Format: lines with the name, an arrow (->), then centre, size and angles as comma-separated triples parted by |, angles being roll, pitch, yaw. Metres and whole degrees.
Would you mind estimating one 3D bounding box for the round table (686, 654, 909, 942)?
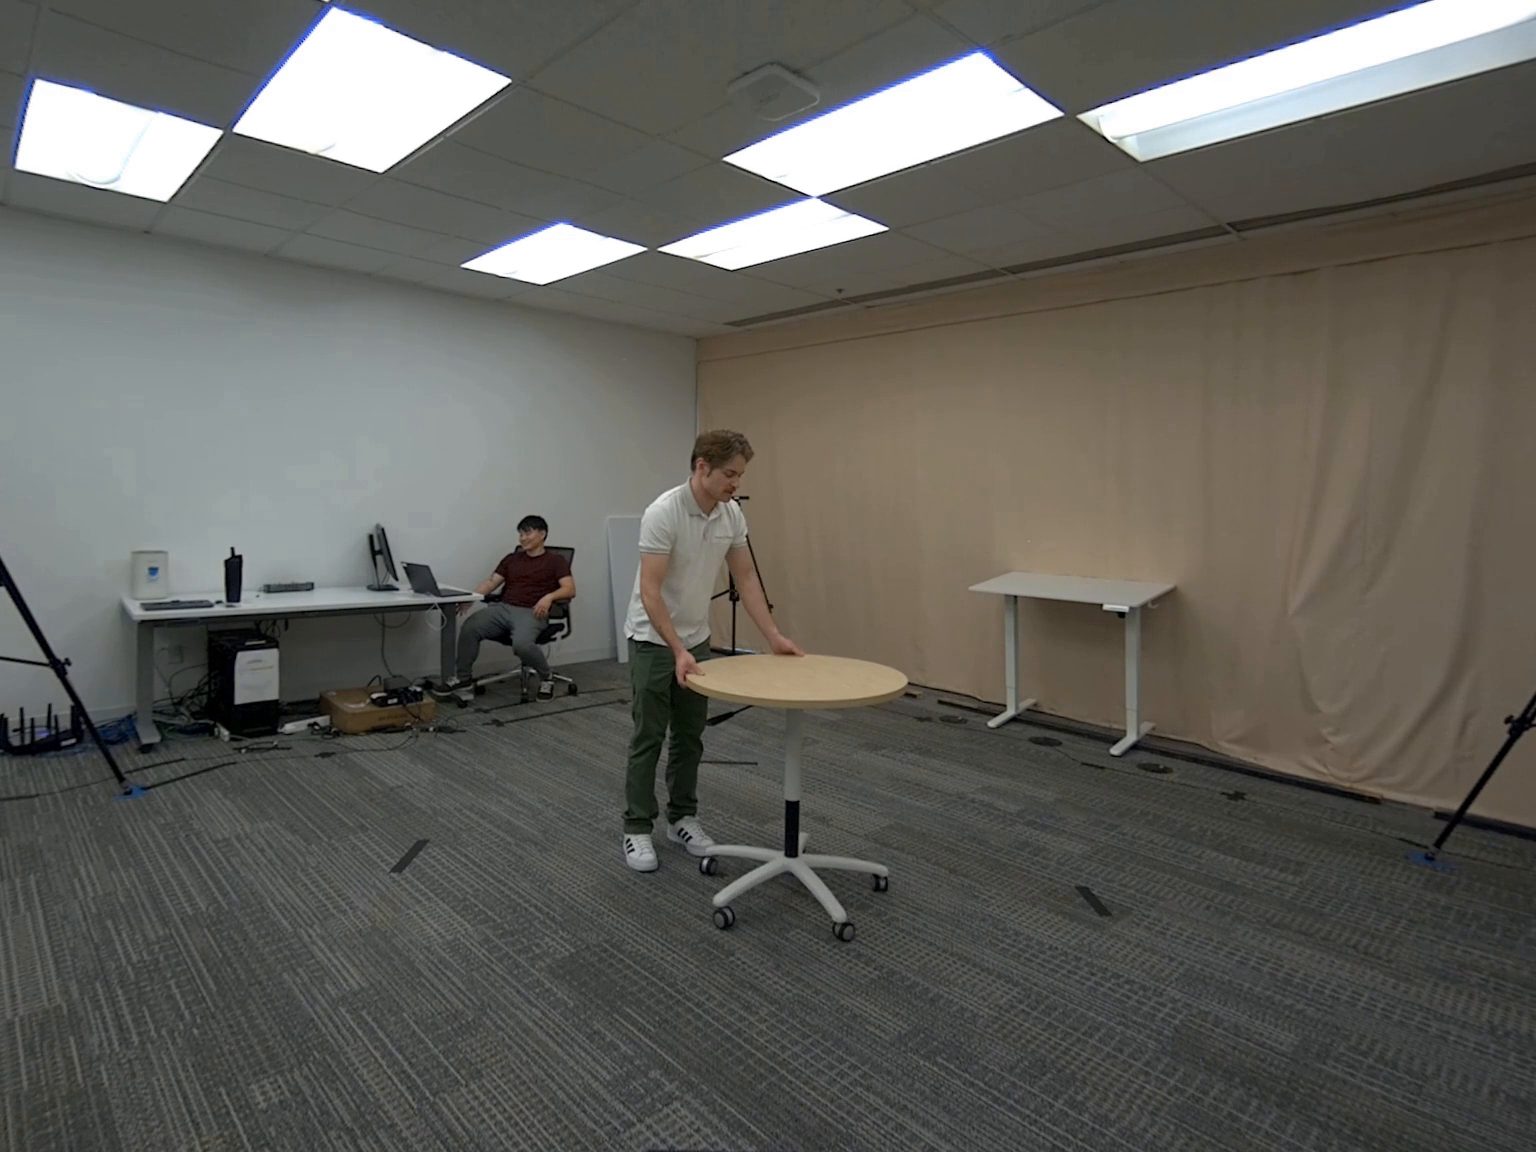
round table -> 0.084, 0.734, 2.940 | 0.763, 0.792, 0.767 | 1, 4, -1
